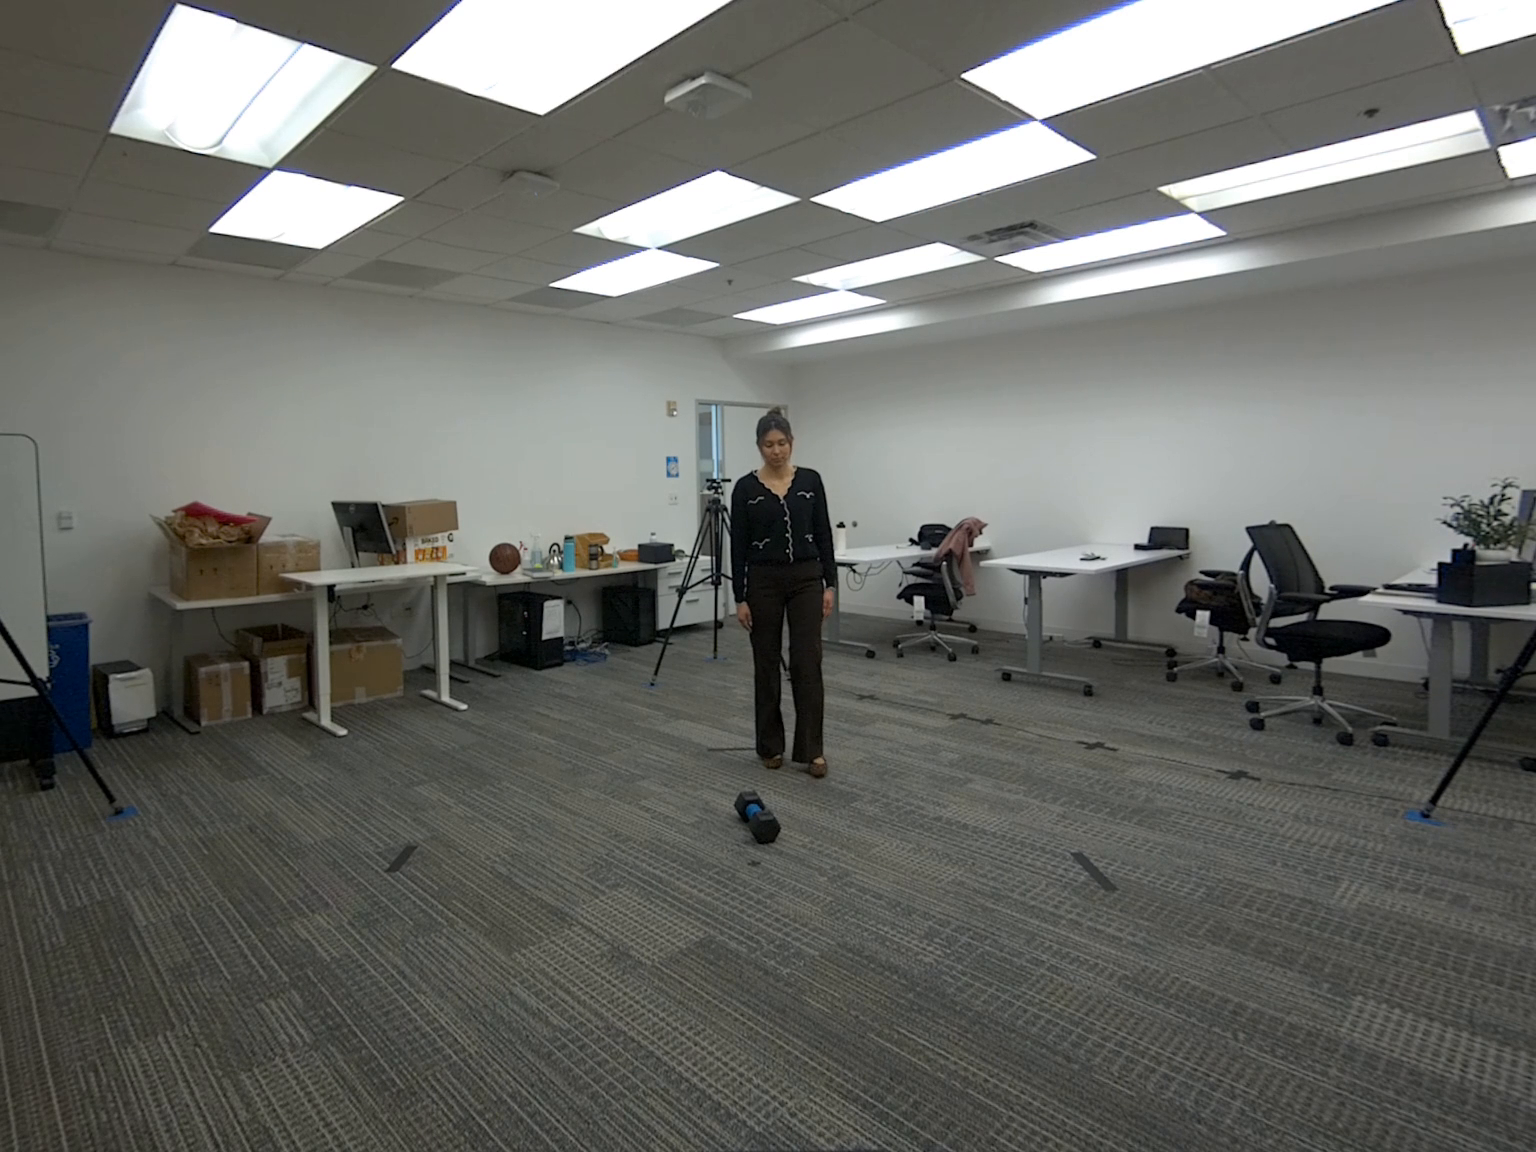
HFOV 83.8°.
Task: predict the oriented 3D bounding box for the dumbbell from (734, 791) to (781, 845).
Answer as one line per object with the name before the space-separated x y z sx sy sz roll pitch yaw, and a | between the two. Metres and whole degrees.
dumbbell | -0.041 0.960 3.402 0.108 0.121 0.299 -32 13 -10
